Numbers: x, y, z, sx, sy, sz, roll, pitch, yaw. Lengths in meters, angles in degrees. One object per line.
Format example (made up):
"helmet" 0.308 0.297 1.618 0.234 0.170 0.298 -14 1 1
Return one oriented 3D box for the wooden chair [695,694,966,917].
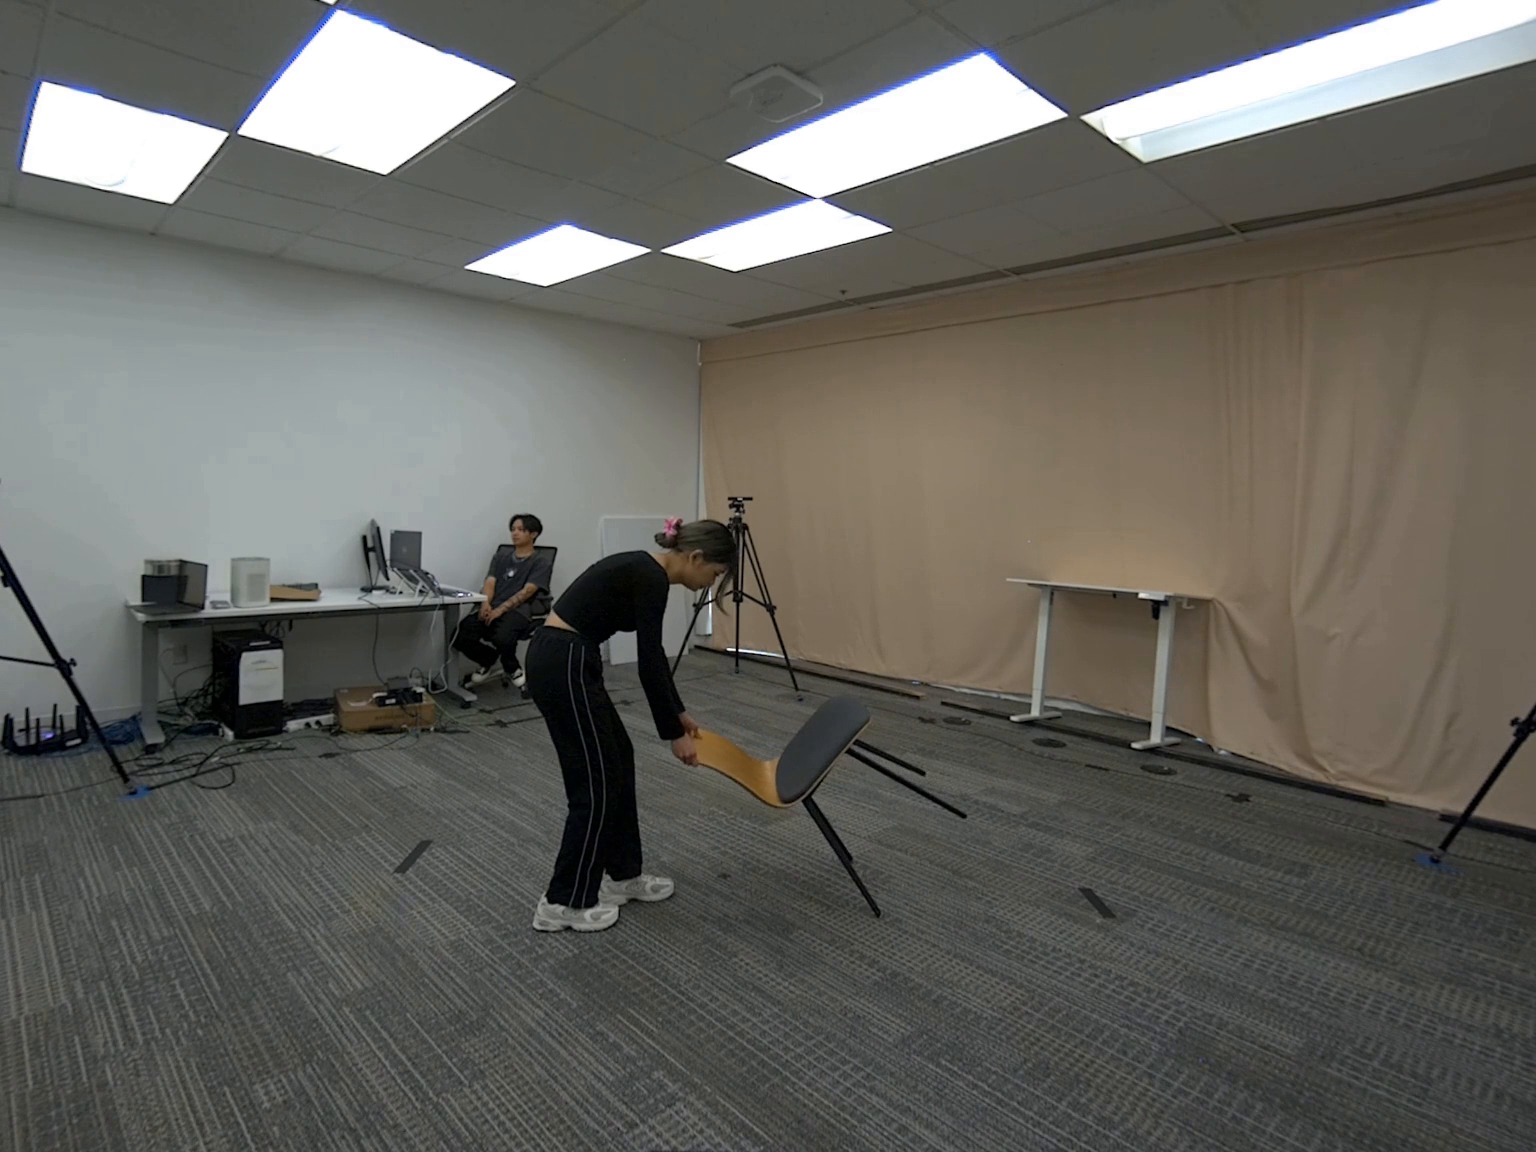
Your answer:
"wooden chair" 0.163 0.660 3.001 0.872 0.523 0.481 37 1 -6
